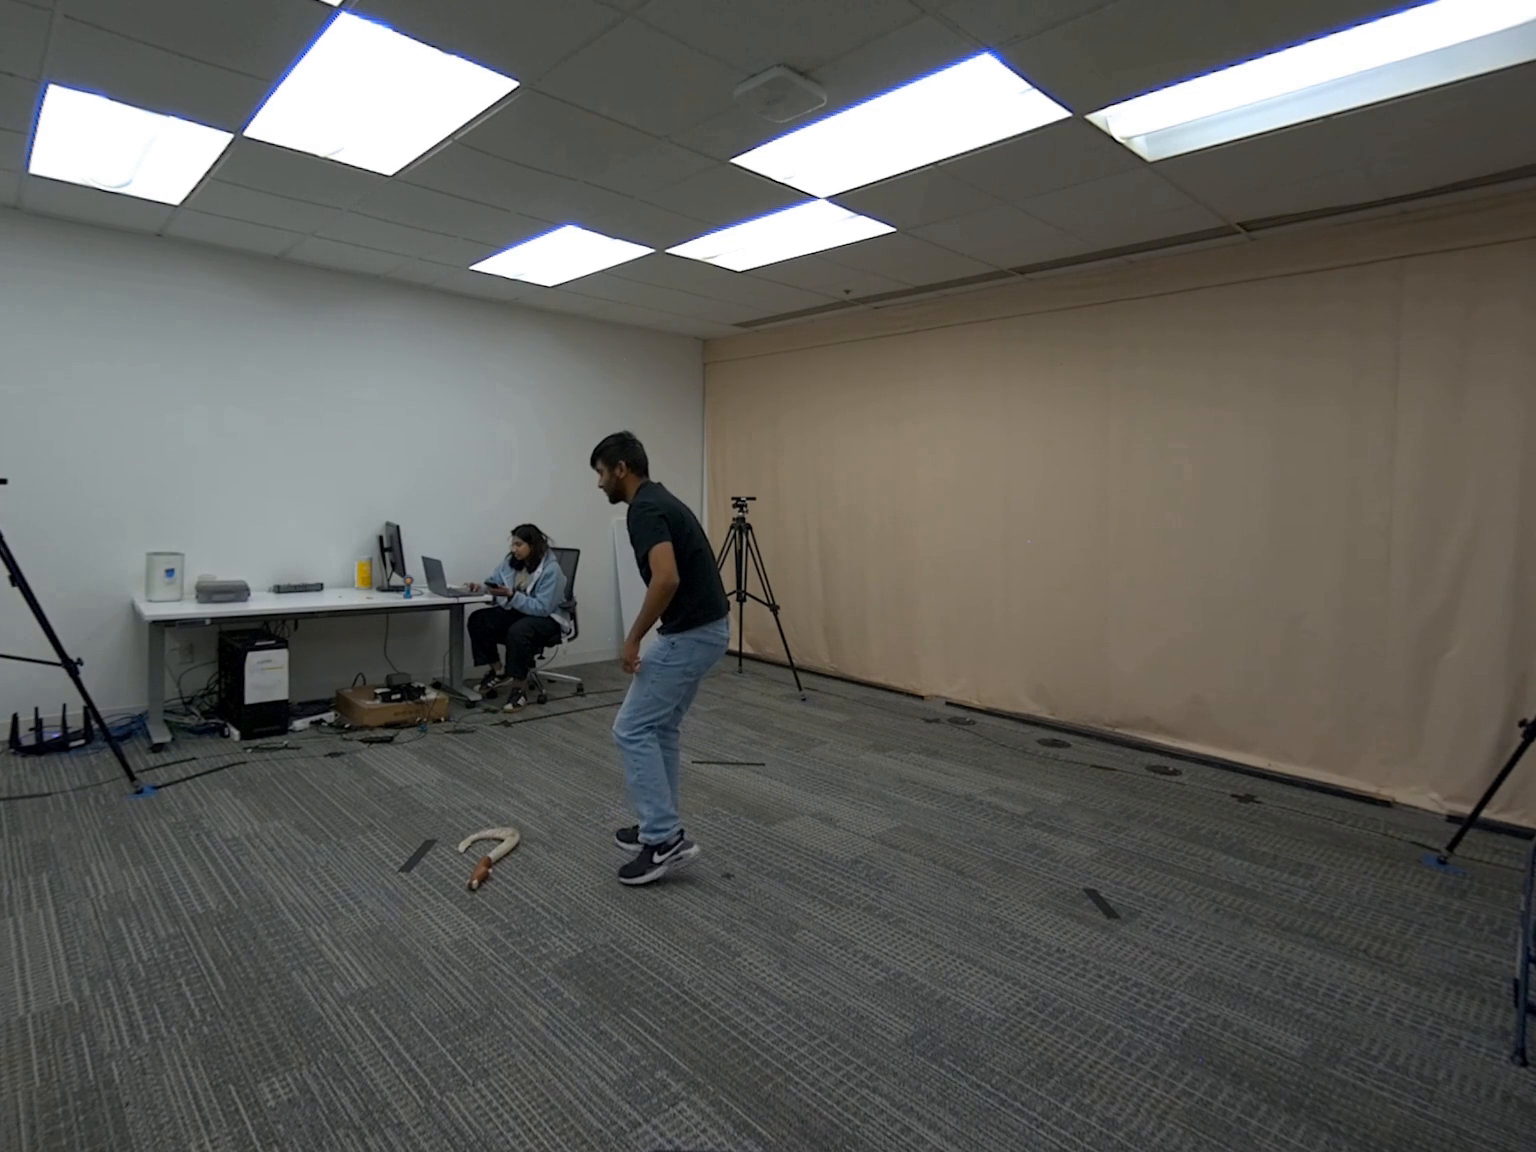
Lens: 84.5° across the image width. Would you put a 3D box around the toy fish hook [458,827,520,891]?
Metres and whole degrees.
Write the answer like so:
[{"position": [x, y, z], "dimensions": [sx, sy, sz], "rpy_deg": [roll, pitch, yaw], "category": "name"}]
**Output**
[{"position": [-1.100, 1.067, 3.175], "dimensions": [0.224, 0.048, 0.508], "rpy_deg": [-6, 5, -1], "category": "toy fish hook"}]
